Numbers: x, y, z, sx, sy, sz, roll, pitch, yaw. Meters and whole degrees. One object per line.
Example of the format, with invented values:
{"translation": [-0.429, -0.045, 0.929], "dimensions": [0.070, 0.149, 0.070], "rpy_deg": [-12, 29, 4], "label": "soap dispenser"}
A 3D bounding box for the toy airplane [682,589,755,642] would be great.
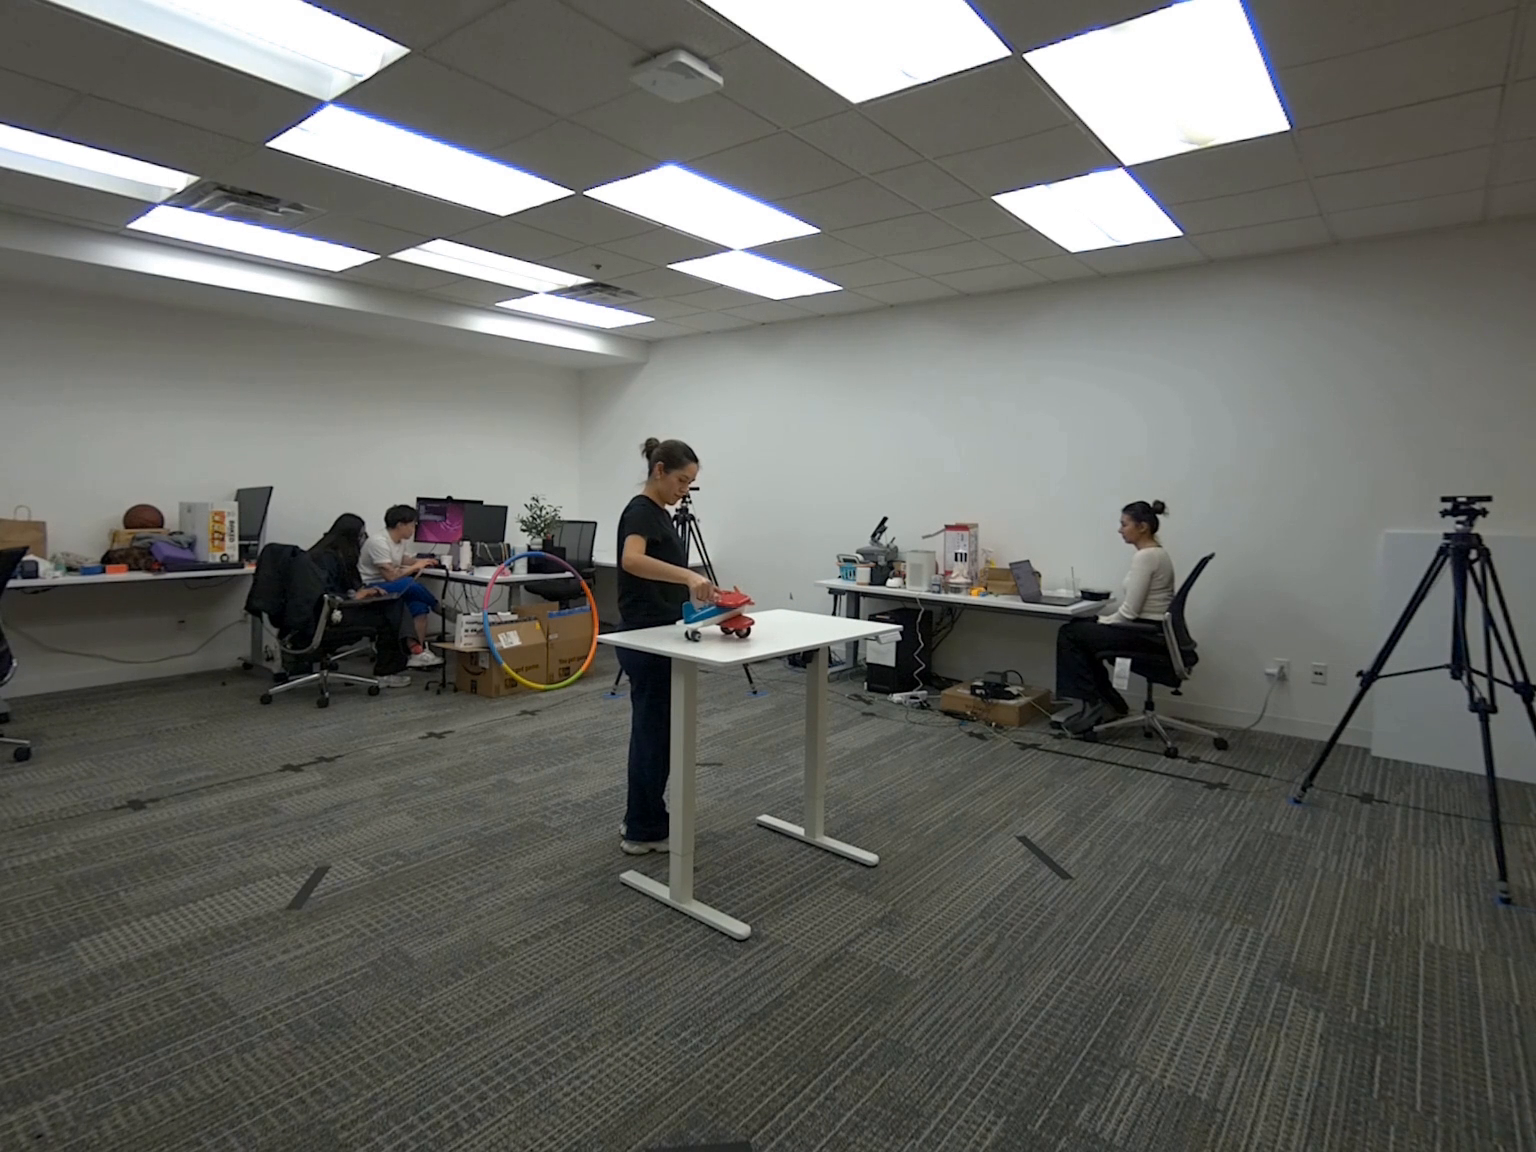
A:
{"translation": [-0.157, 0.131, 2.871], "dimensions": [0.257, 0.156, 0.253], "rpy_deg": [3, 4, 24], "label": "toy airplane"}
